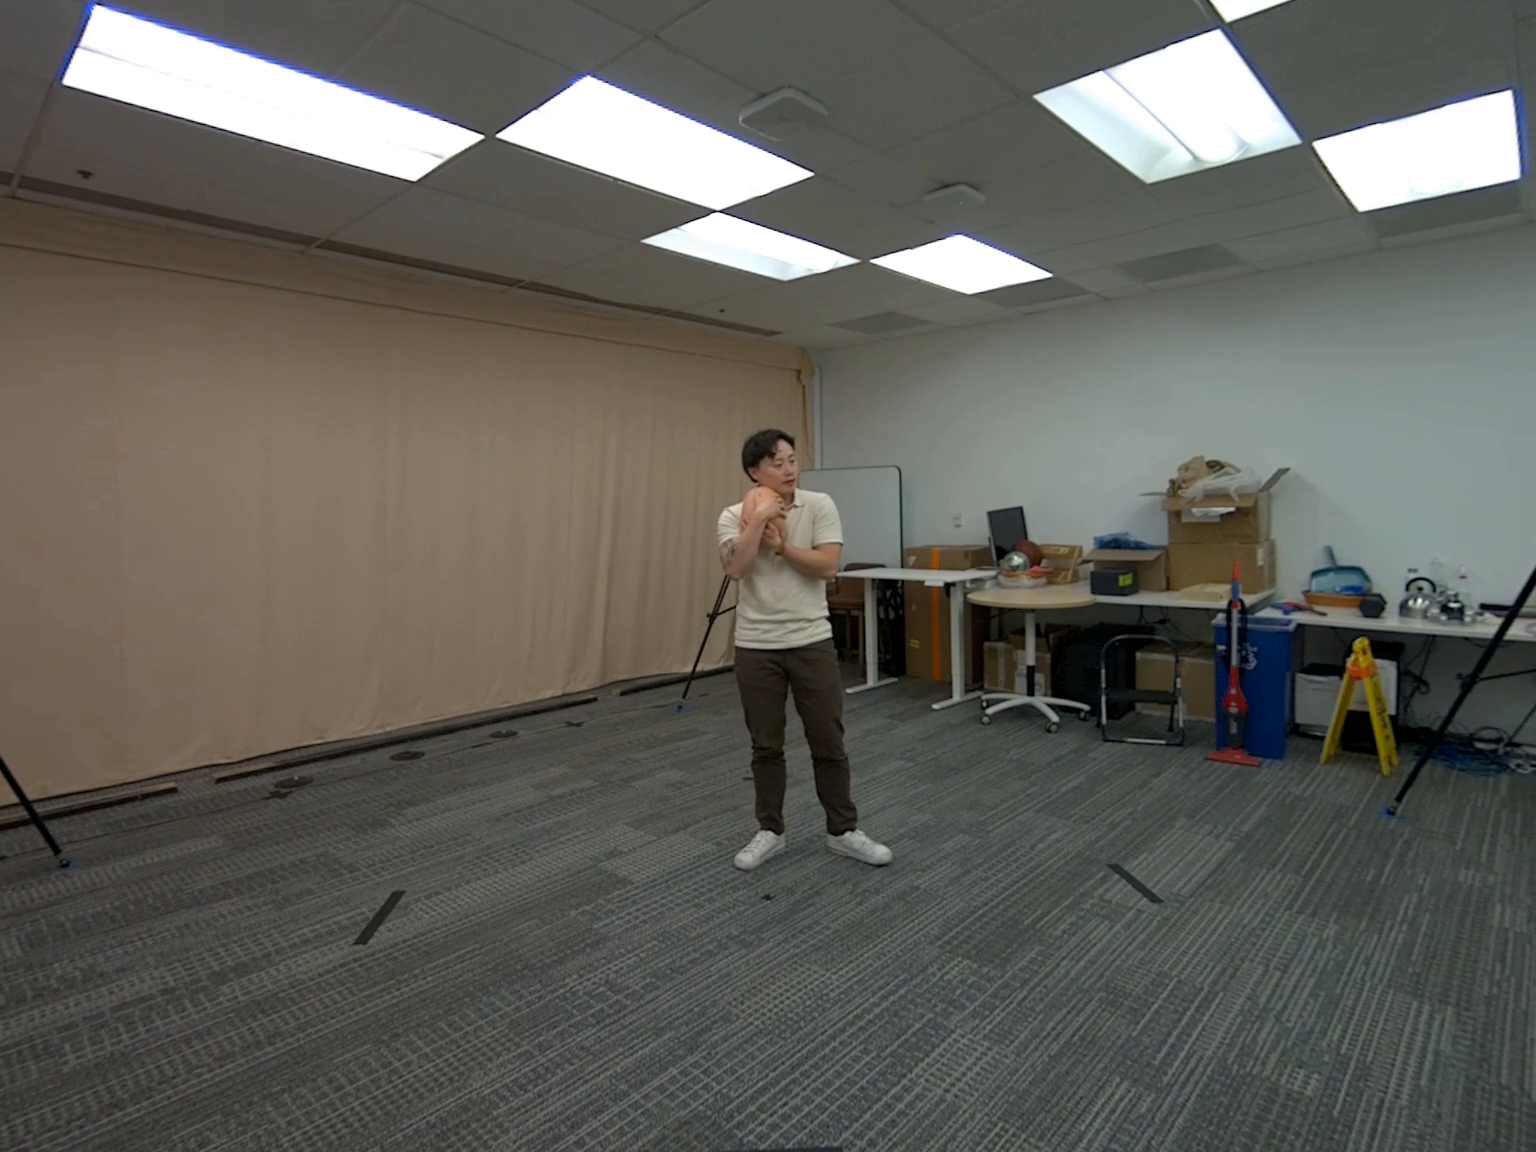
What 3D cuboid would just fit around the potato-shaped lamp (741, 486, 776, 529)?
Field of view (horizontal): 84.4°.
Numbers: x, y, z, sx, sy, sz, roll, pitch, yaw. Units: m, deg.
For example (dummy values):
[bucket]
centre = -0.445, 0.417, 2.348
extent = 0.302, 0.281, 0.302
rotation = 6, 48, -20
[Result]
[potato-shaped lamp]
centre = -0.012, -0.238, 3.185
extent = 0.173, 0.203, 0.159
rotation = -27, -42, 12
